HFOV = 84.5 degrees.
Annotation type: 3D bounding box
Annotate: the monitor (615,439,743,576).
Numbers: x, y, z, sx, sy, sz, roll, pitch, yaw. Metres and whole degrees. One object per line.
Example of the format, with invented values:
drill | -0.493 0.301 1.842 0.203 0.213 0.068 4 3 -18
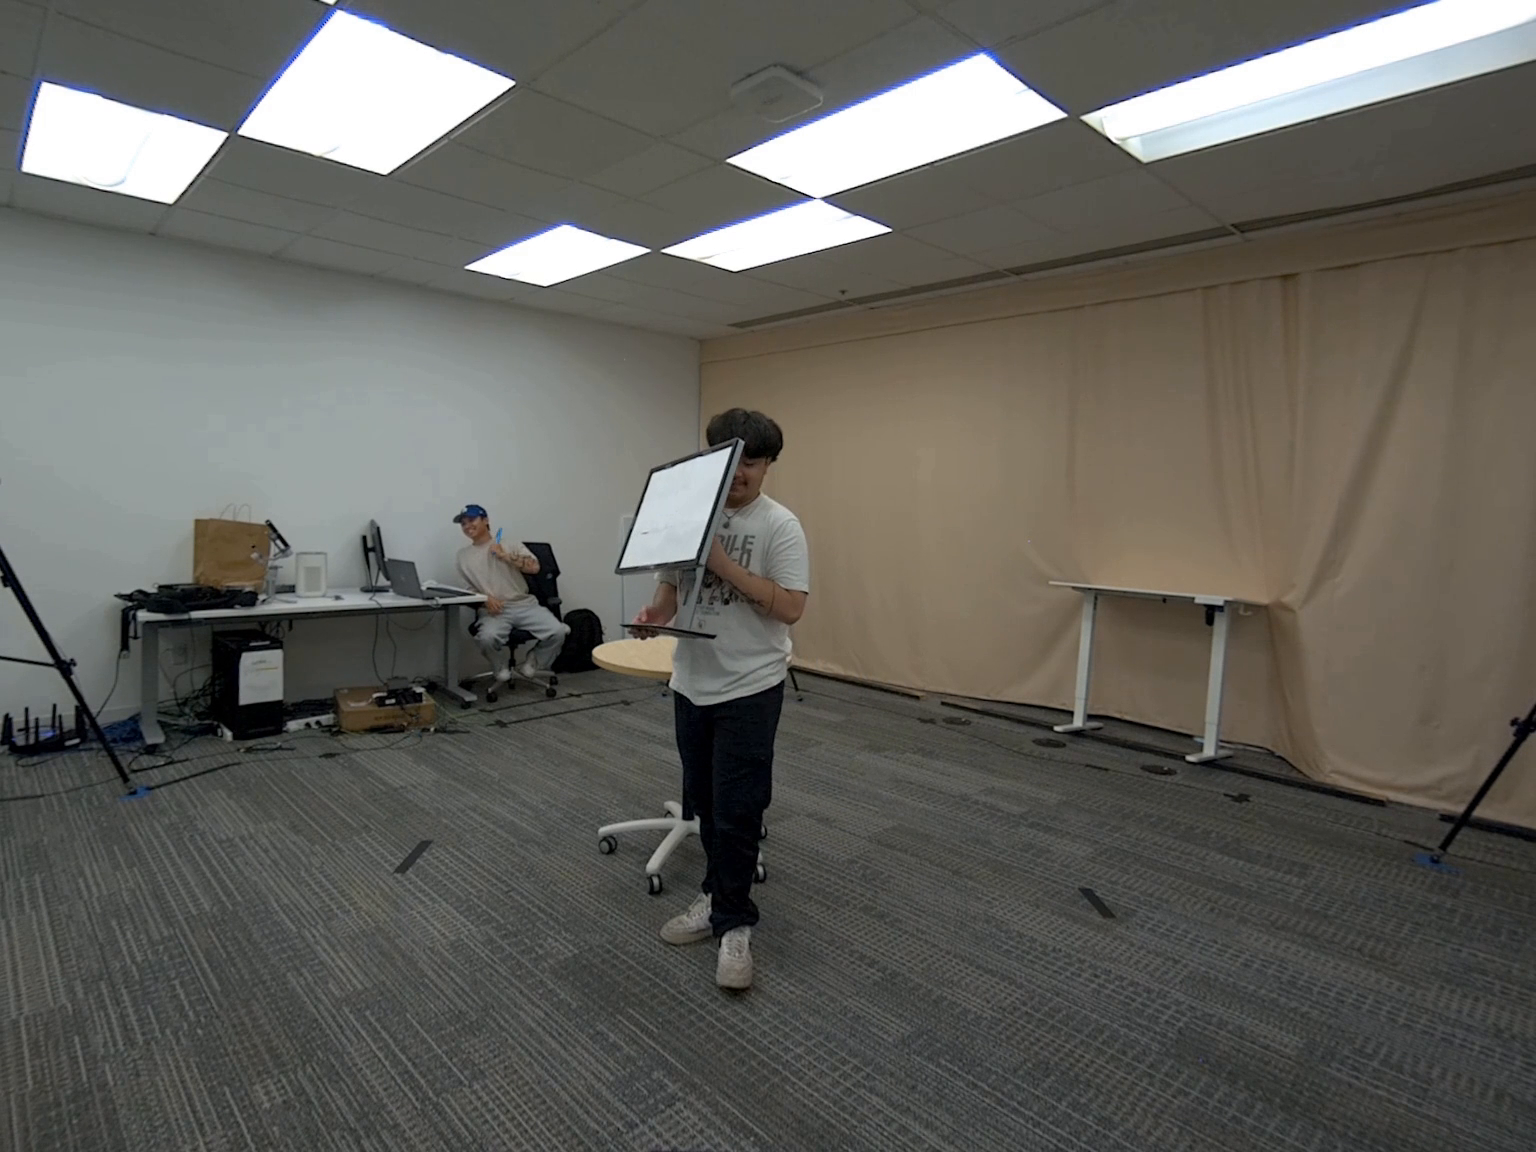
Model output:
monitor | -0.230 -0.077 2.445 0.205 0.558 0.575 18 -13 -30
